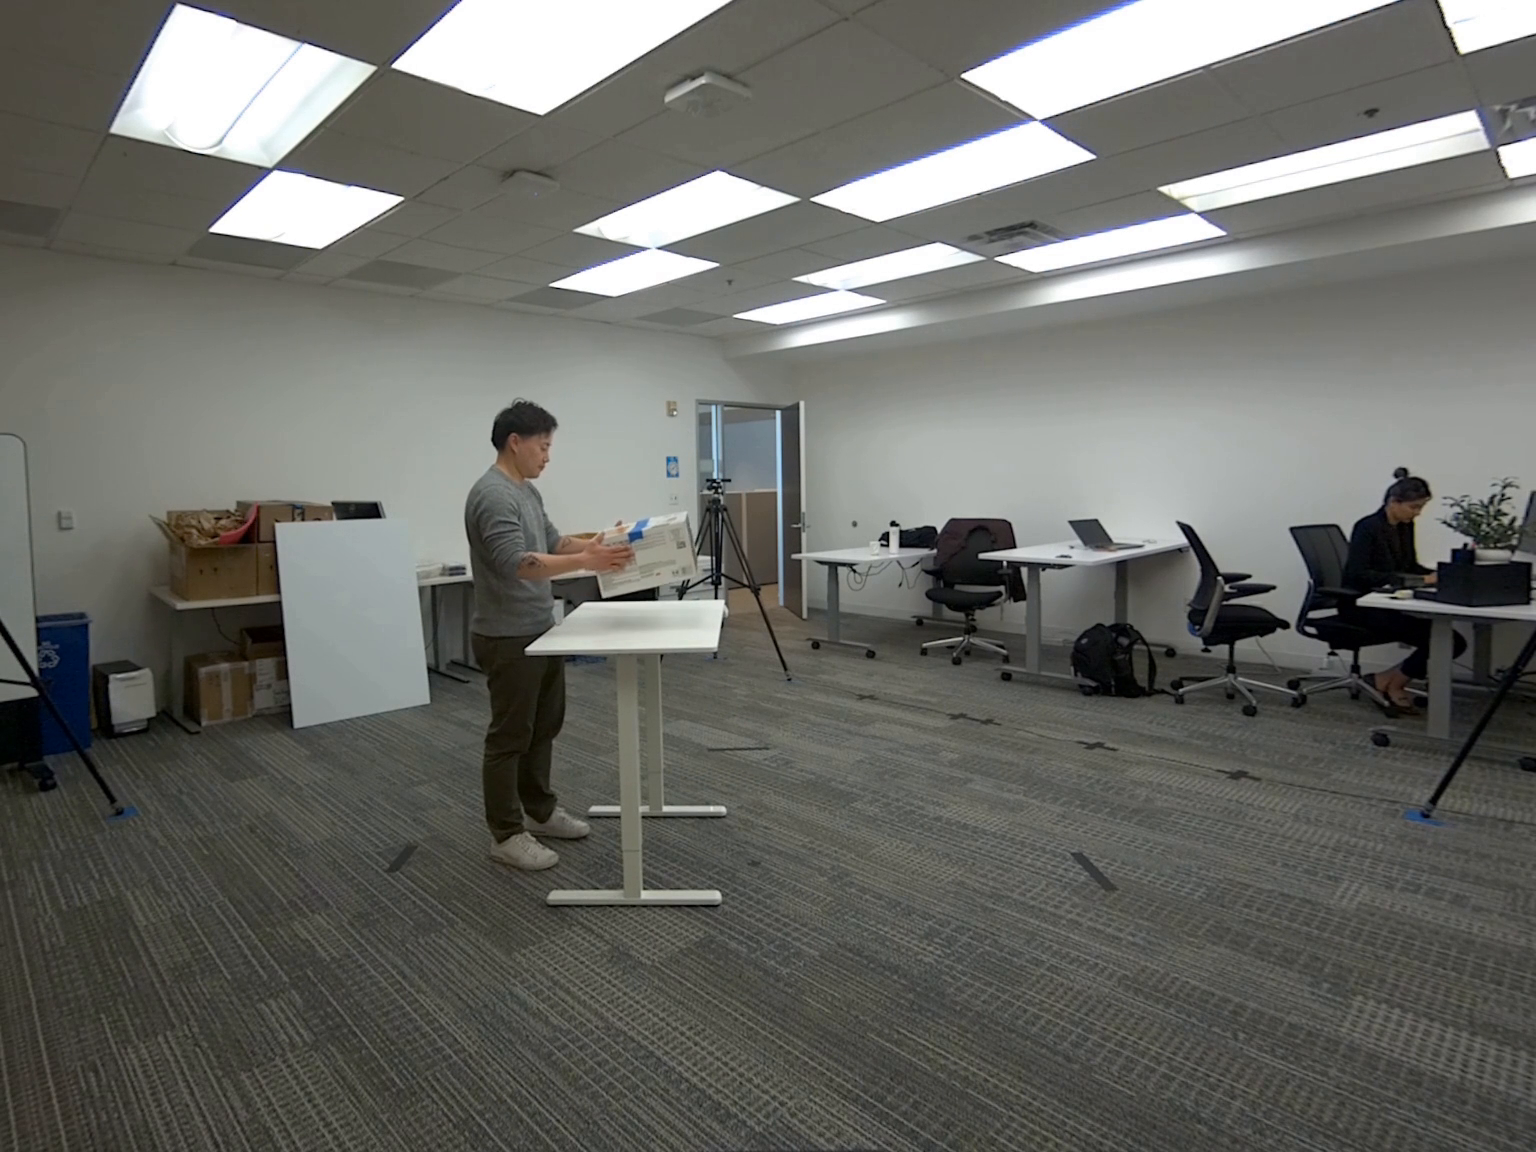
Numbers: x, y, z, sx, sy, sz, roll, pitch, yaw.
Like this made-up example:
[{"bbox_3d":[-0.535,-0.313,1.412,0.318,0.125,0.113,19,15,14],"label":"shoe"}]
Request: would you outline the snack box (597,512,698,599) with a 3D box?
[{"bbox_3d":[-0.451,-0.077,3.128,0.340,0.204,0.409,-14,9,-1],"label":"snack box"}]
